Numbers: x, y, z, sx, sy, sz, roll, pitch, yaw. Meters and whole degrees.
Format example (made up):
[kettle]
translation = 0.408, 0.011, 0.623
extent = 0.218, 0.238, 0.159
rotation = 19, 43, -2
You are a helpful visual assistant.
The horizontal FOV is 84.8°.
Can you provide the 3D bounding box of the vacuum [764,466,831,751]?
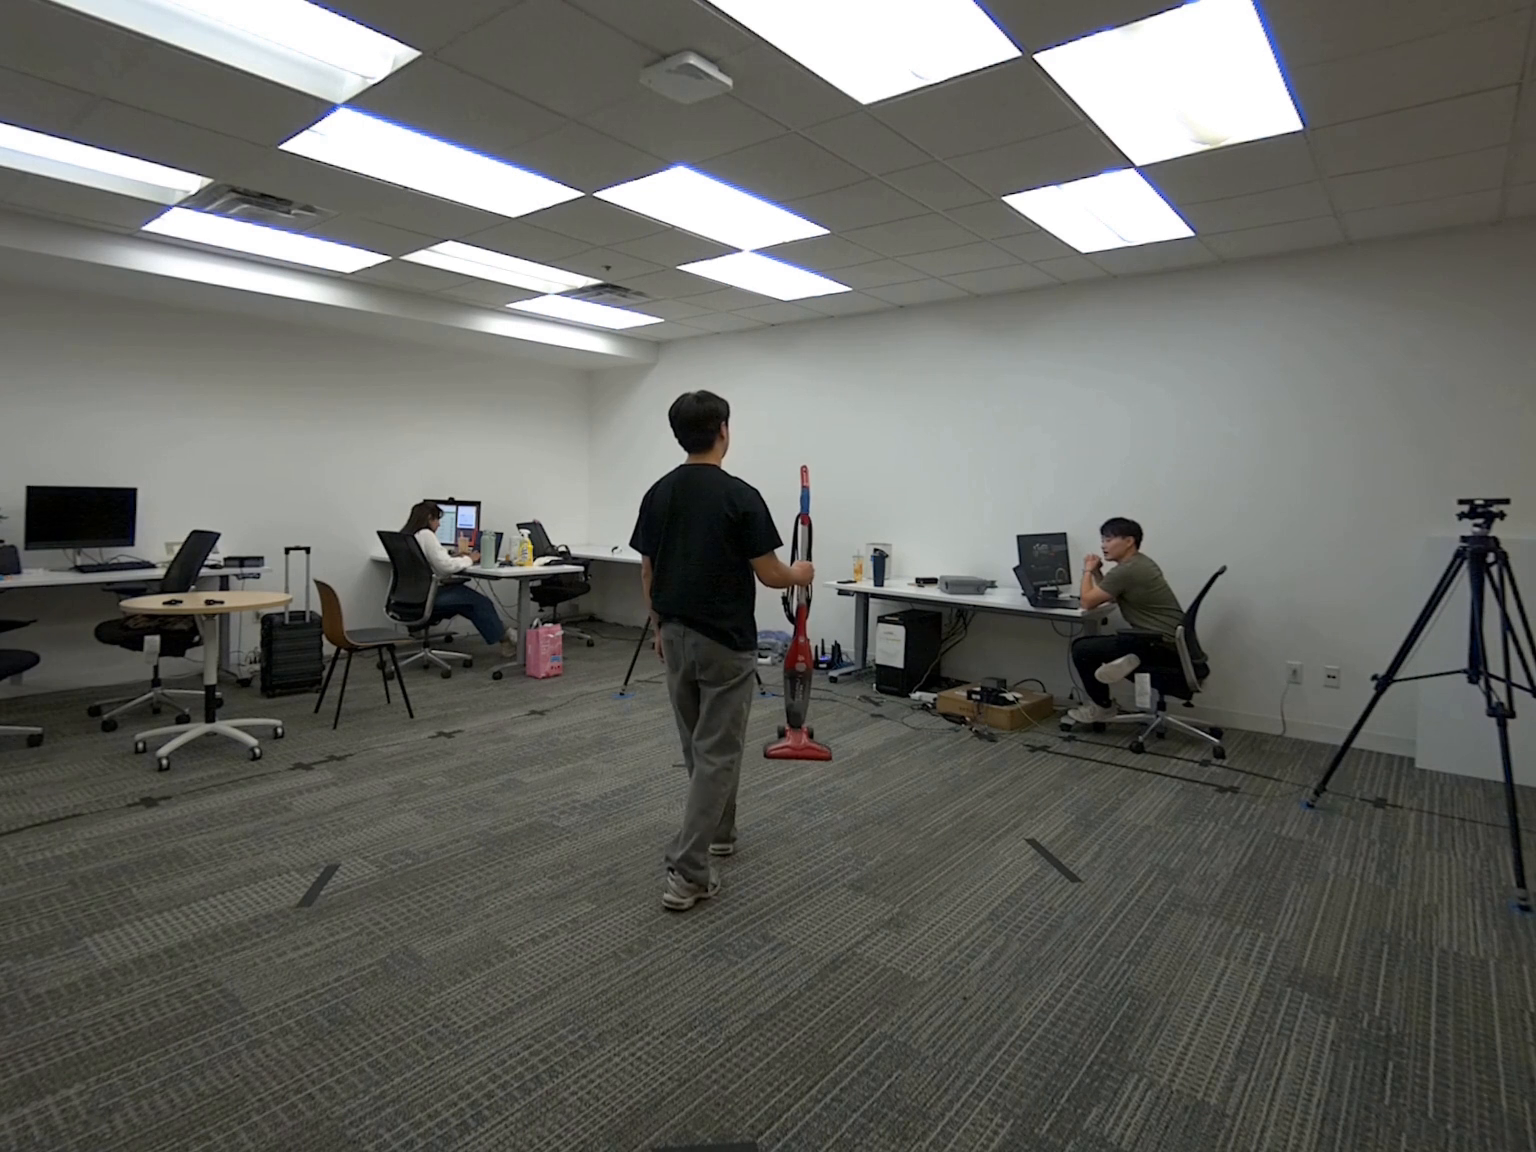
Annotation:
[vacuum]
translation = 0.112, 0.093, 3.249
extent = 0.251, 1.057, 0.144
rotation = 2, -7, -5
